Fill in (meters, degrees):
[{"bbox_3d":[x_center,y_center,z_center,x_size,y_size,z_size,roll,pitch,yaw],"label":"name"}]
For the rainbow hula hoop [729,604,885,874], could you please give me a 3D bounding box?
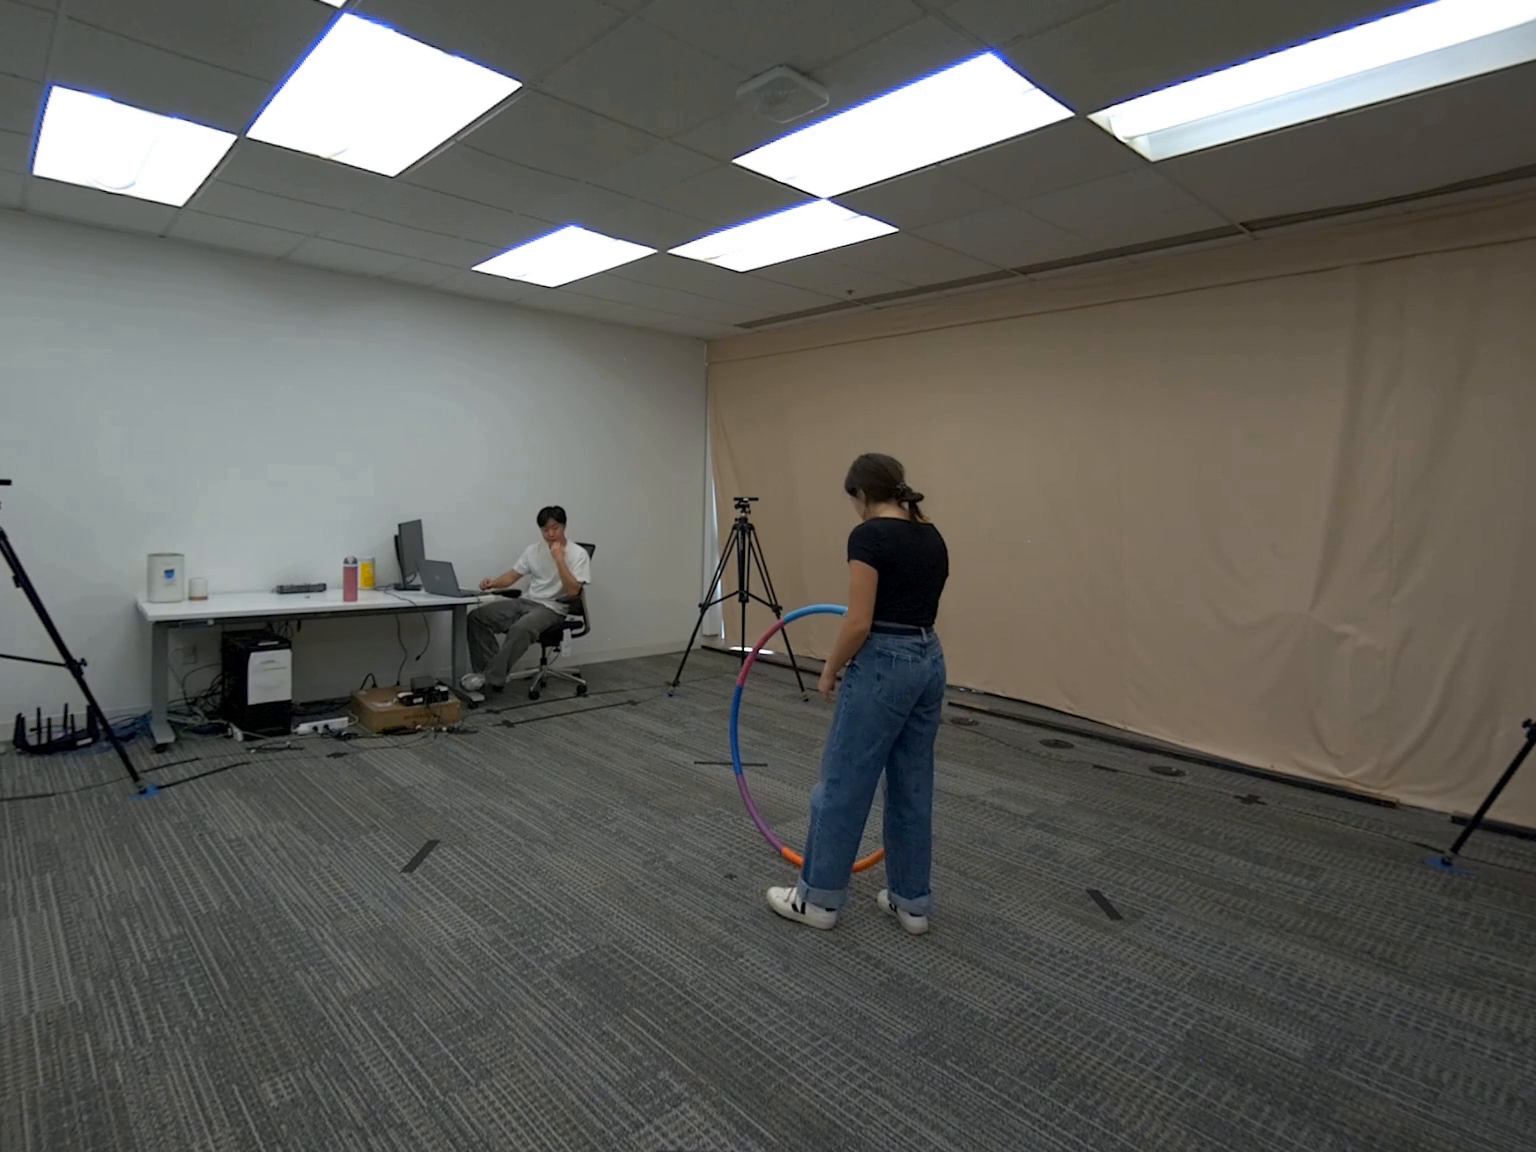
[{"bbox_3d":[0.188,0.611,3.225,1.004,0.980,0.034,5,-4,43],"label":"rainbow hula hoop"}]
